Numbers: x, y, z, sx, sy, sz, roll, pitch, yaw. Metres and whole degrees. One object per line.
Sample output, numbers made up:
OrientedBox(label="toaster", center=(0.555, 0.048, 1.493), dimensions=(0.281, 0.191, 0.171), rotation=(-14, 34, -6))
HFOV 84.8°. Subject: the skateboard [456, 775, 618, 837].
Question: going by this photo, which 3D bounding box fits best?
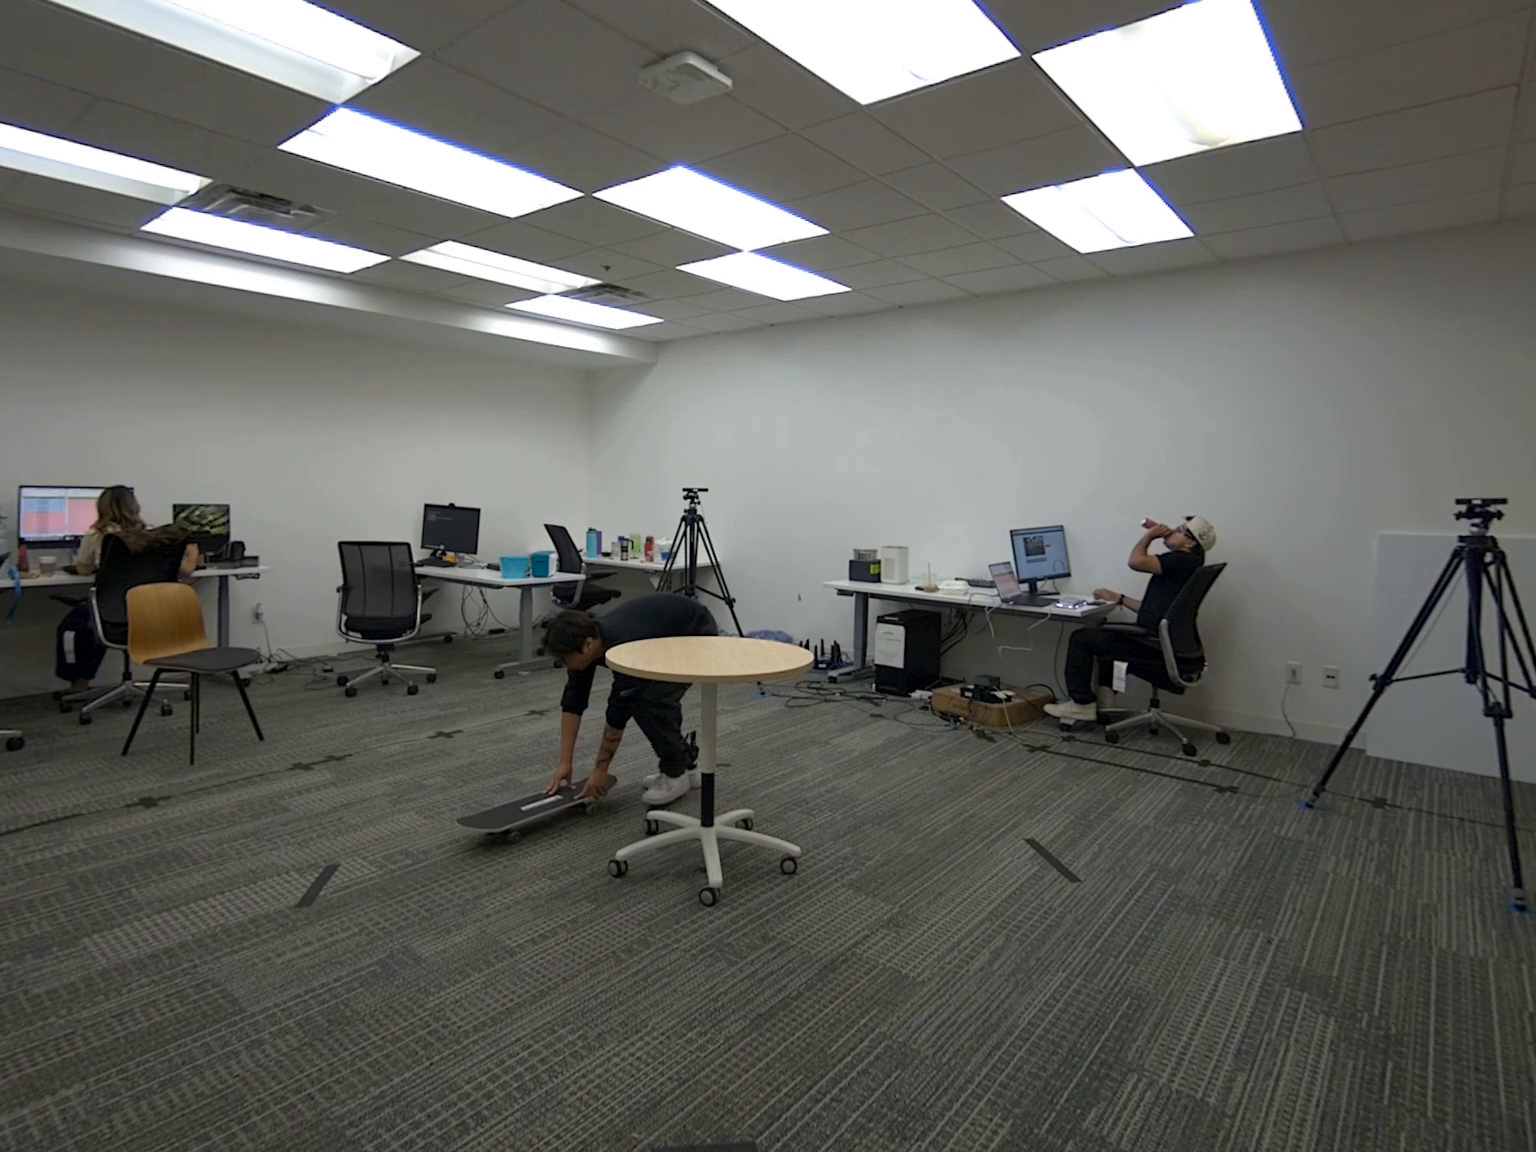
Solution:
OrientedBox(label="skateboard", center=(-0.950, 0.970, 3.509), dimensions=(0.200, 0.110, 0.762), rotation=(4, 6, 38))
